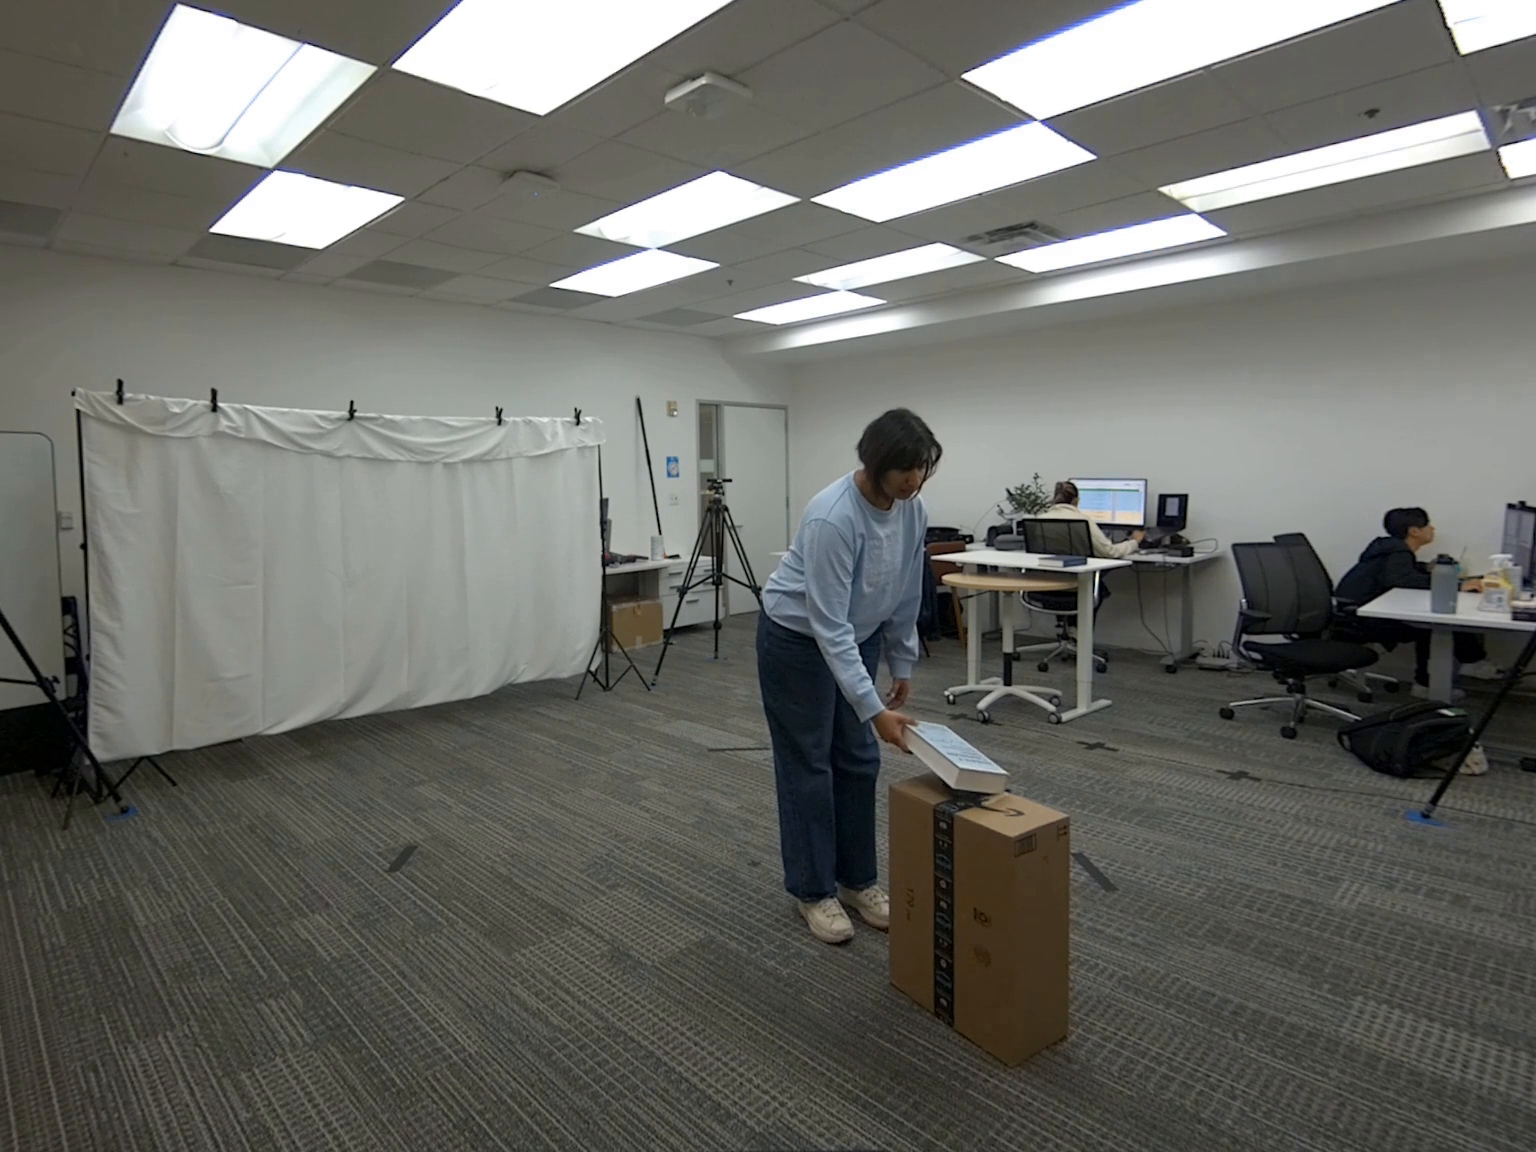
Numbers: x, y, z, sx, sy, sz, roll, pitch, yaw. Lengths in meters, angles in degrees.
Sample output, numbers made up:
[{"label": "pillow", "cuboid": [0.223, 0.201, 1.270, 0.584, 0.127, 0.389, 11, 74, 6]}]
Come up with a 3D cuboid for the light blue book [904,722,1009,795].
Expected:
[{"label": "light blue book", "cuboid": [0.483, 0.478, 2.297, 0.185, 0.059, 0.270, 14, 12, -32]}]
